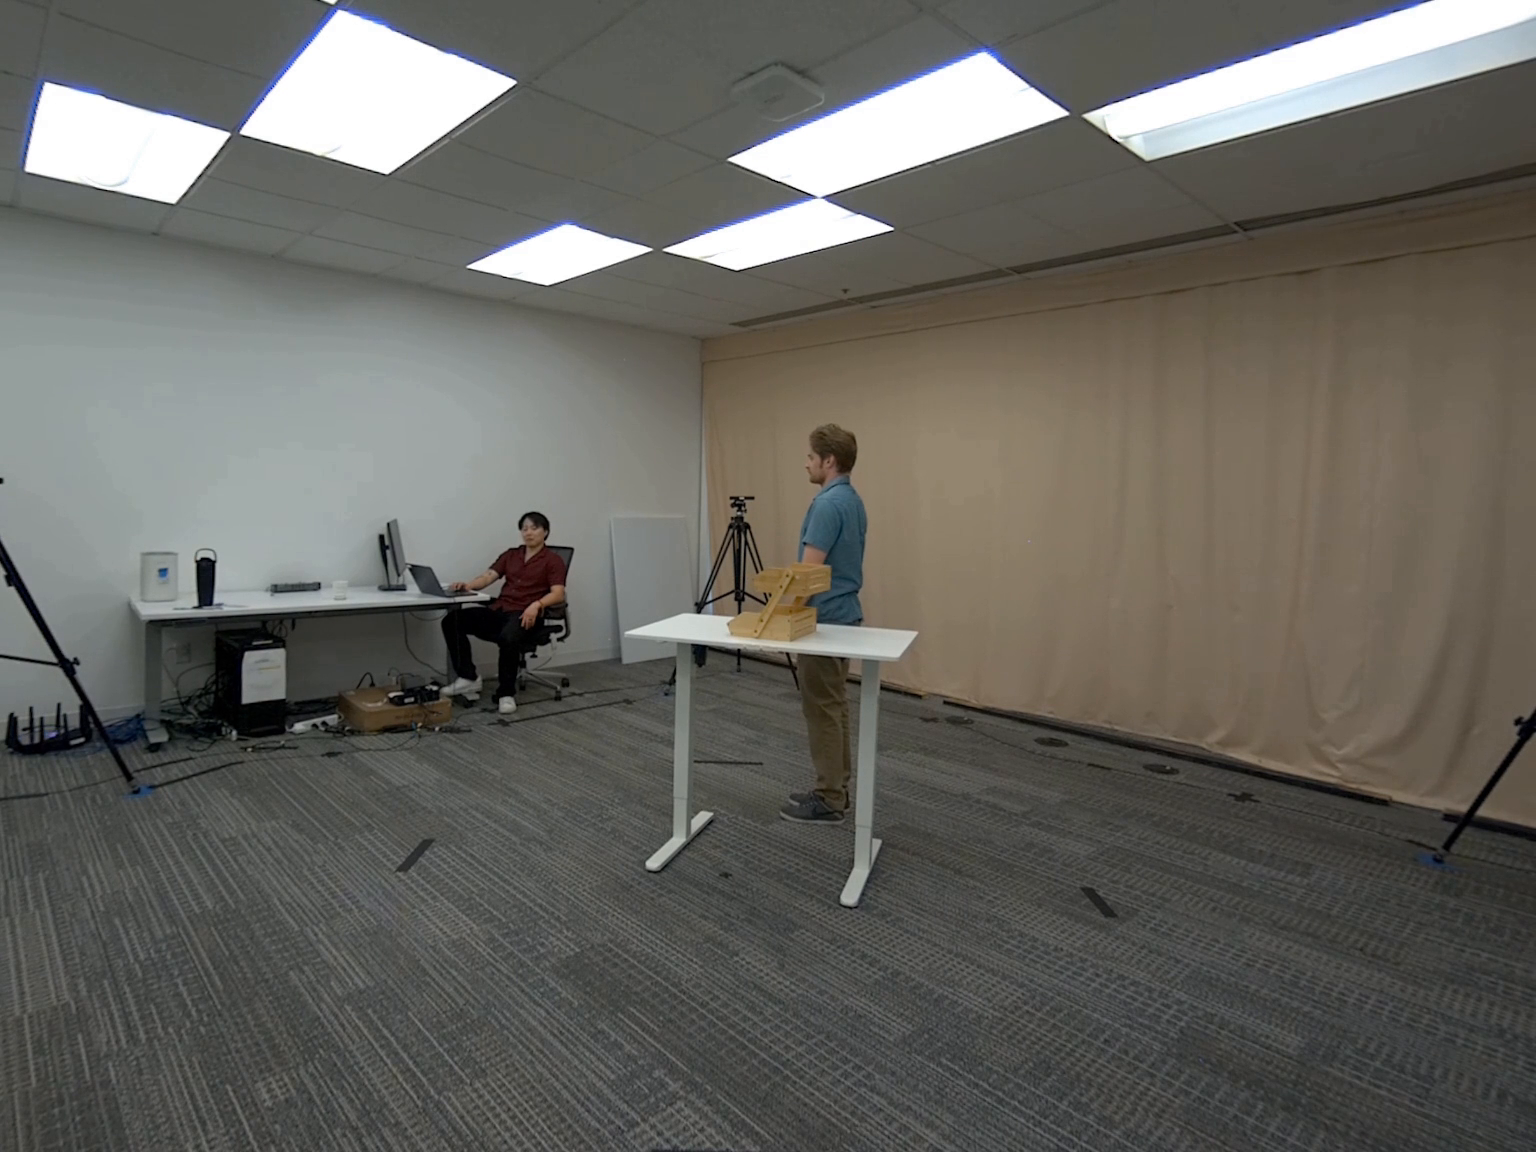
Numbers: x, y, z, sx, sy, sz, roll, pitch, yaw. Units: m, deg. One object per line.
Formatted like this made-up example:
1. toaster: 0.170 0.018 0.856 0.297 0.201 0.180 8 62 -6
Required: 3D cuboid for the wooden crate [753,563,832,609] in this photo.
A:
1. wooden crate: 0.035 0.086 3.177 0.307 0.272 0.319 4 5 22
